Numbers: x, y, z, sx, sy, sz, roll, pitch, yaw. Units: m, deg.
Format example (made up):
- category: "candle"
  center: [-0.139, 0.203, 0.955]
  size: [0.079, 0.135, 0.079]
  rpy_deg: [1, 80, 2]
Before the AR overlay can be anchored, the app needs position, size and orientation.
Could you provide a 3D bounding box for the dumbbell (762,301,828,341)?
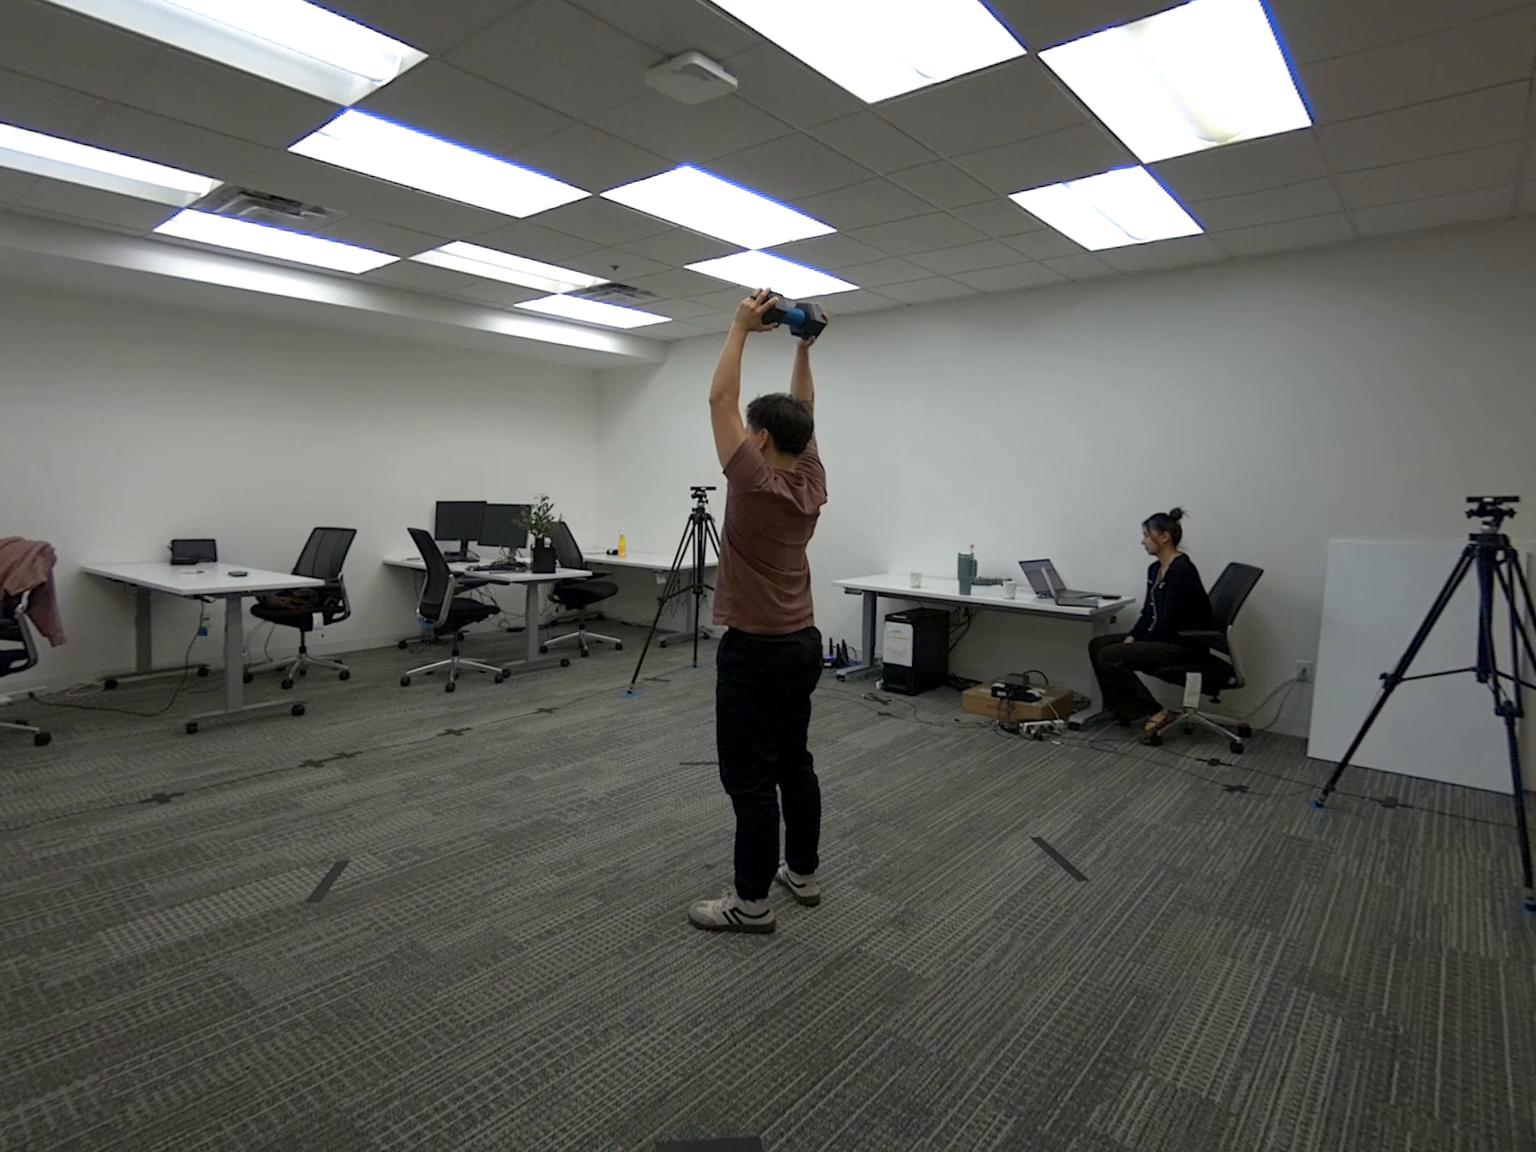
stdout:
- category: "dumbbell"
  center: [0.049, -0.843, 2.752]
  size: [0.285, 0.122, 0.112]
  rpy_deg: [-4, 50, -51]
